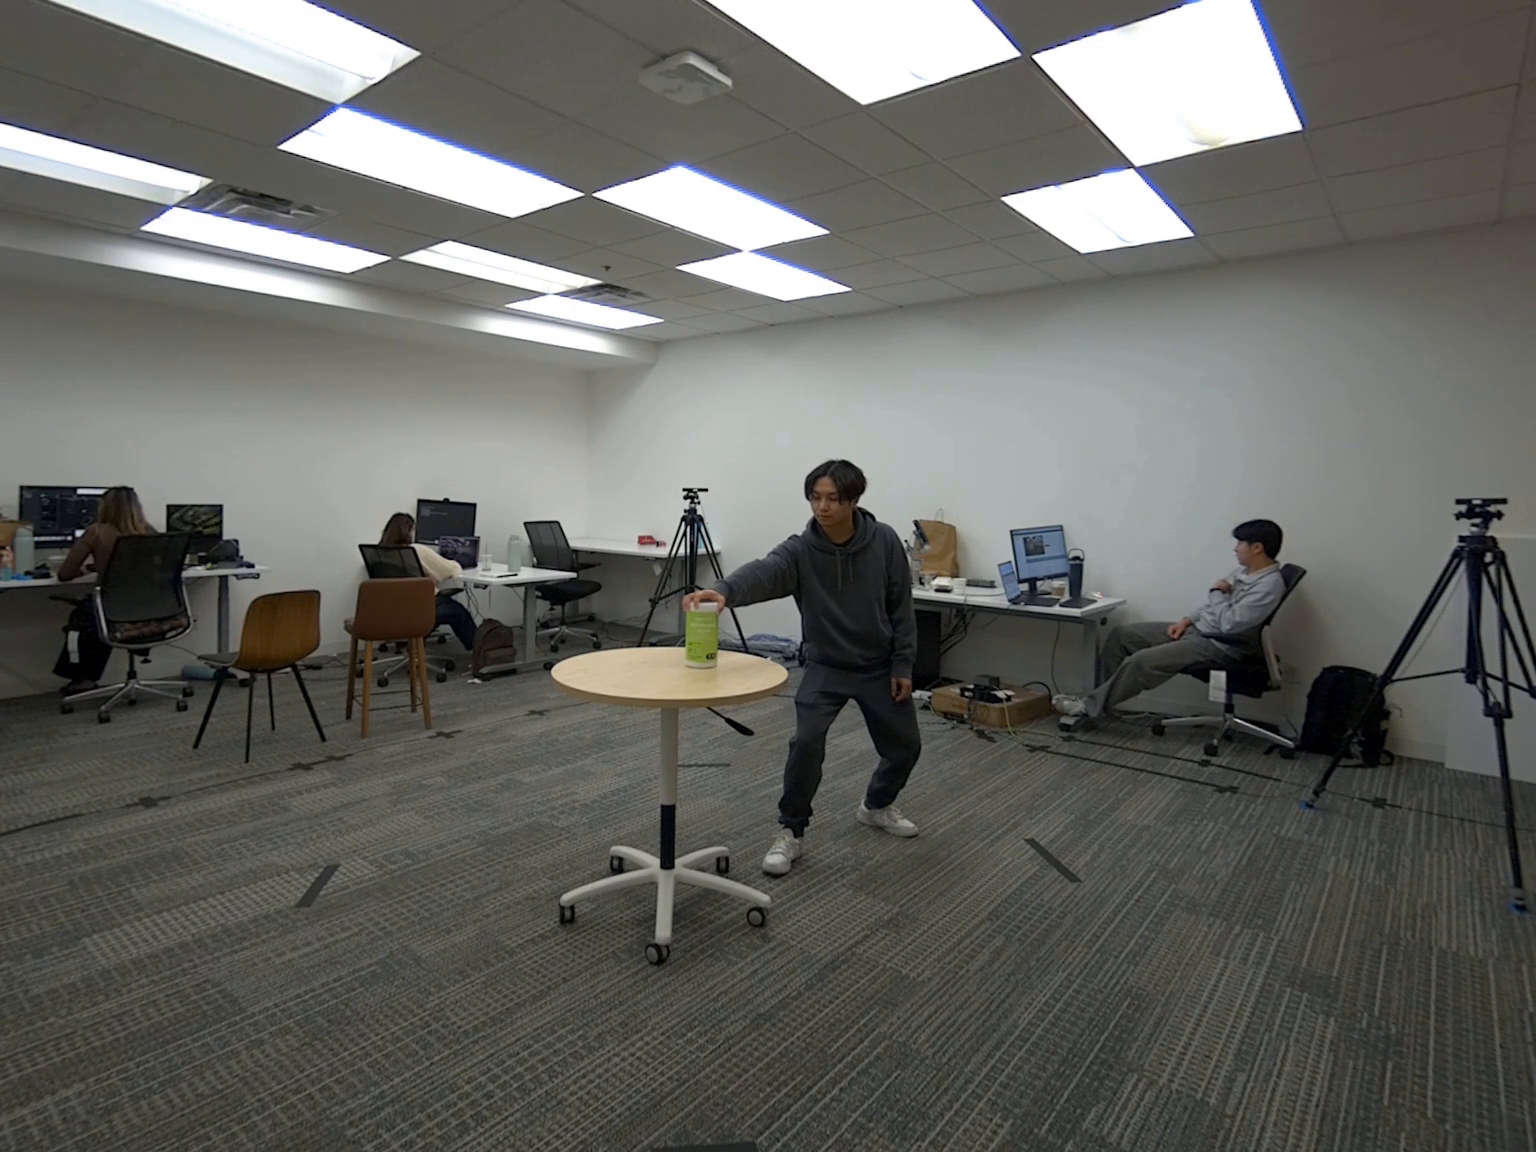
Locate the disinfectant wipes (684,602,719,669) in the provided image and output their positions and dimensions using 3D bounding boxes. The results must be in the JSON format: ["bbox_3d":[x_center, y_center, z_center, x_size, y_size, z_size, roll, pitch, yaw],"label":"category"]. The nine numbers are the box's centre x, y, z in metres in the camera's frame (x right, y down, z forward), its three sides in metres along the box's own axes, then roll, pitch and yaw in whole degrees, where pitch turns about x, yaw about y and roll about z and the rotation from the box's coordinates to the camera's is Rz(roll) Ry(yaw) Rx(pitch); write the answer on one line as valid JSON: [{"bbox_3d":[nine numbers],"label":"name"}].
[{"bbox_3d":[-0.231,0.193,2.843,0.117,0.217,0.118,2,2,-2],"label":"disinfectant wipes"}]
